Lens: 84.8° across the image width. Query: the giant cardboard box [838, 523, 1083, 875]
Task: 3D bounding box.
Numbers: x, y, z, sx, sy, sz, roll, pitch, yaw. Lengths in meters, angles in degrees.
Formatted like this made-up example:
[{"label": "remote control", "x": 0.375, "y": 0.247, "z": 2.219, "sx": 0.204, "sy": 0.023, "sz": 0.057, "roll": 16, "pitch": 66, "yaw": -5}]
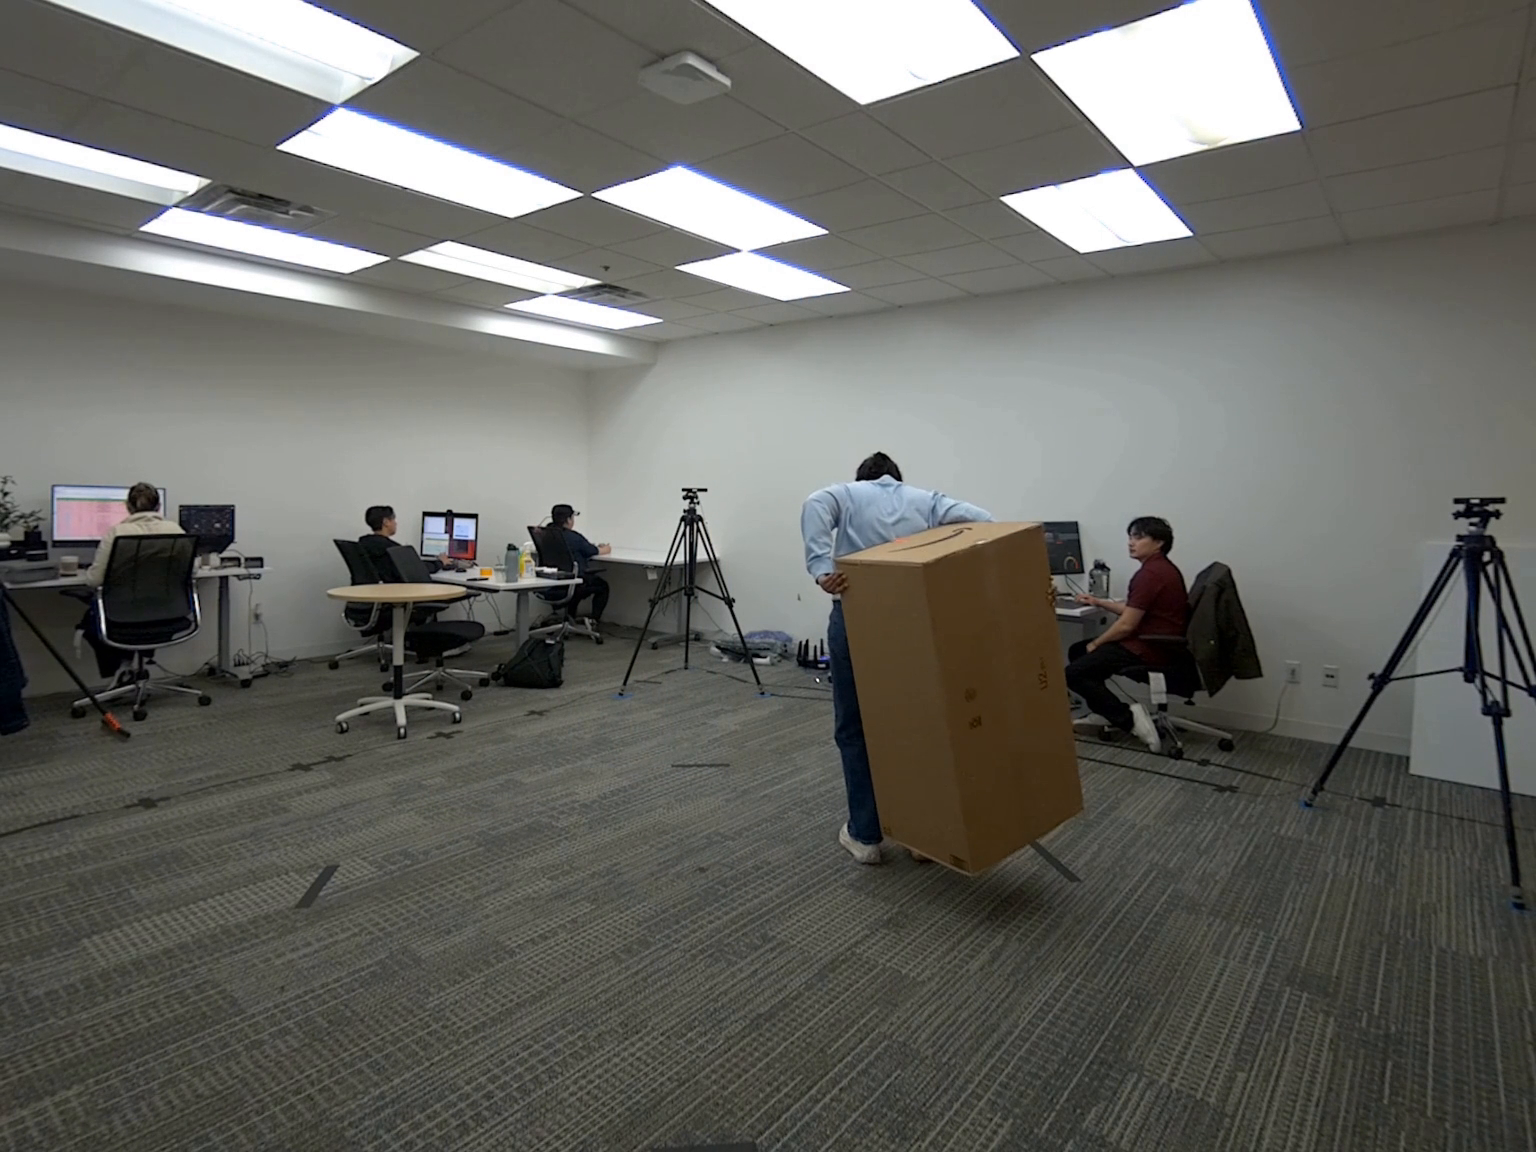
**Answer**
[{"label": "giant cardboard box", "x": 0.652, "y": 0.377, "z": 2.920, "sx": 0.565, "sy": 1.018, "sz": 0.439, "roll": -15, "pitch": 9, "yaw": -32}]
